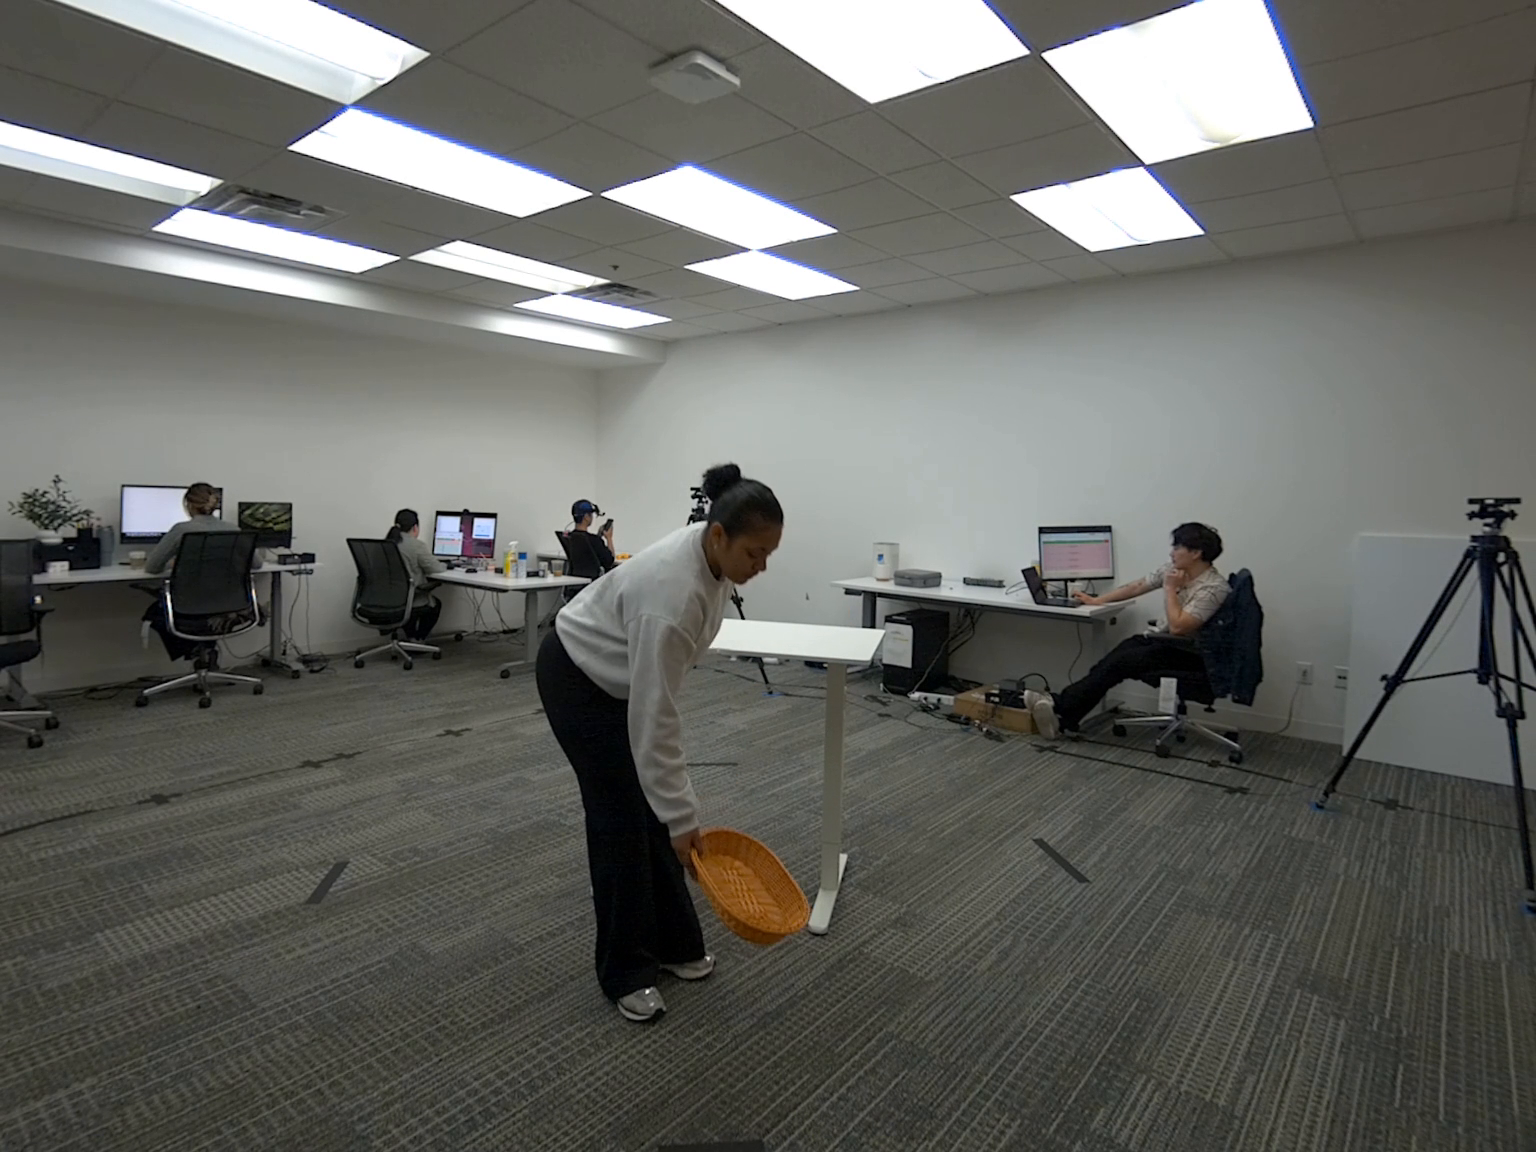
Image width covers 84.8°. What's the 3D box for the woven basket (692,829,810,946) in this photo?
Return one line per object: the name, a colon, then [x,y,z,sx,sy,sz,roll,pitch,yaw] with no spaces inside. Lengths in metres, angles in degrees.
woven basket: [-0.055,0.738,2.001,0.244,0.073,0.364,12,17,-30]
